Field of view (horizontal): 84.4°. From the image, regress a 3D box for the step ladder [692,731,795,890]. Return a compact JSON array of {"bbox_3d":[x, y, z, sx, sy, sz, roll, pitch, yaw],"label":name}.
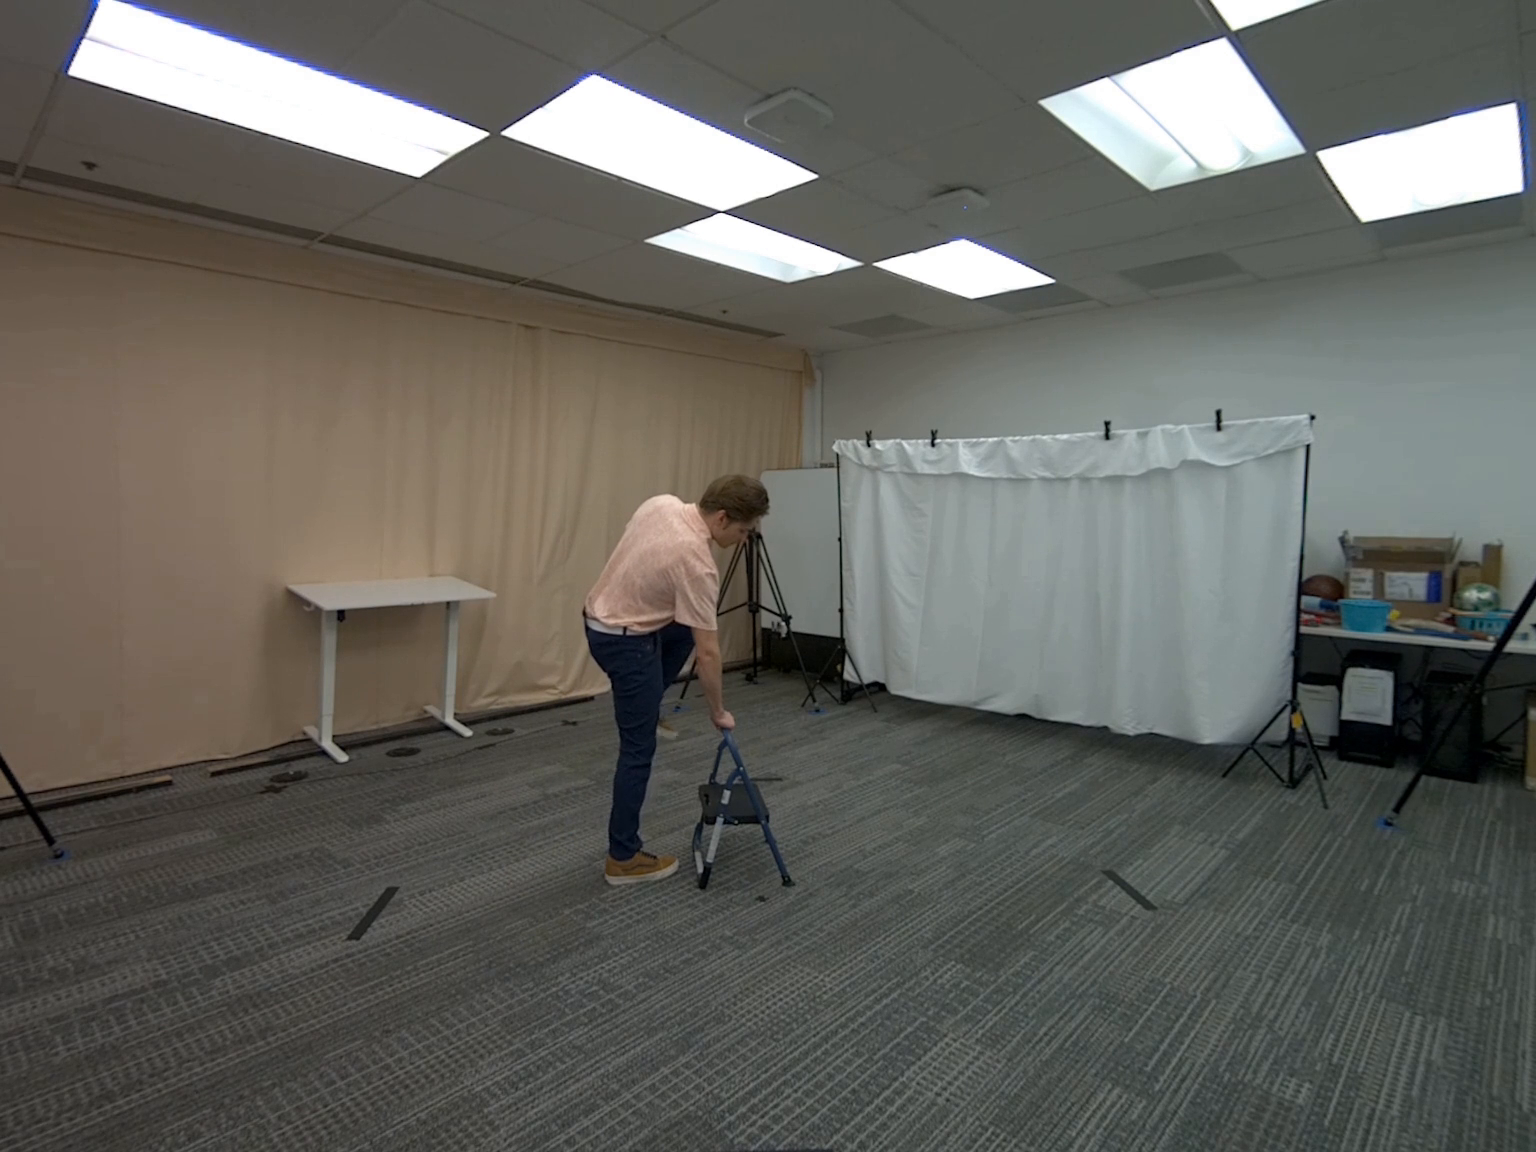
[{"bbox_3d":[-0.115,0.823,3.259,0.346,0.605,0.435,0,3,-9],"label":"step ladder"}]
